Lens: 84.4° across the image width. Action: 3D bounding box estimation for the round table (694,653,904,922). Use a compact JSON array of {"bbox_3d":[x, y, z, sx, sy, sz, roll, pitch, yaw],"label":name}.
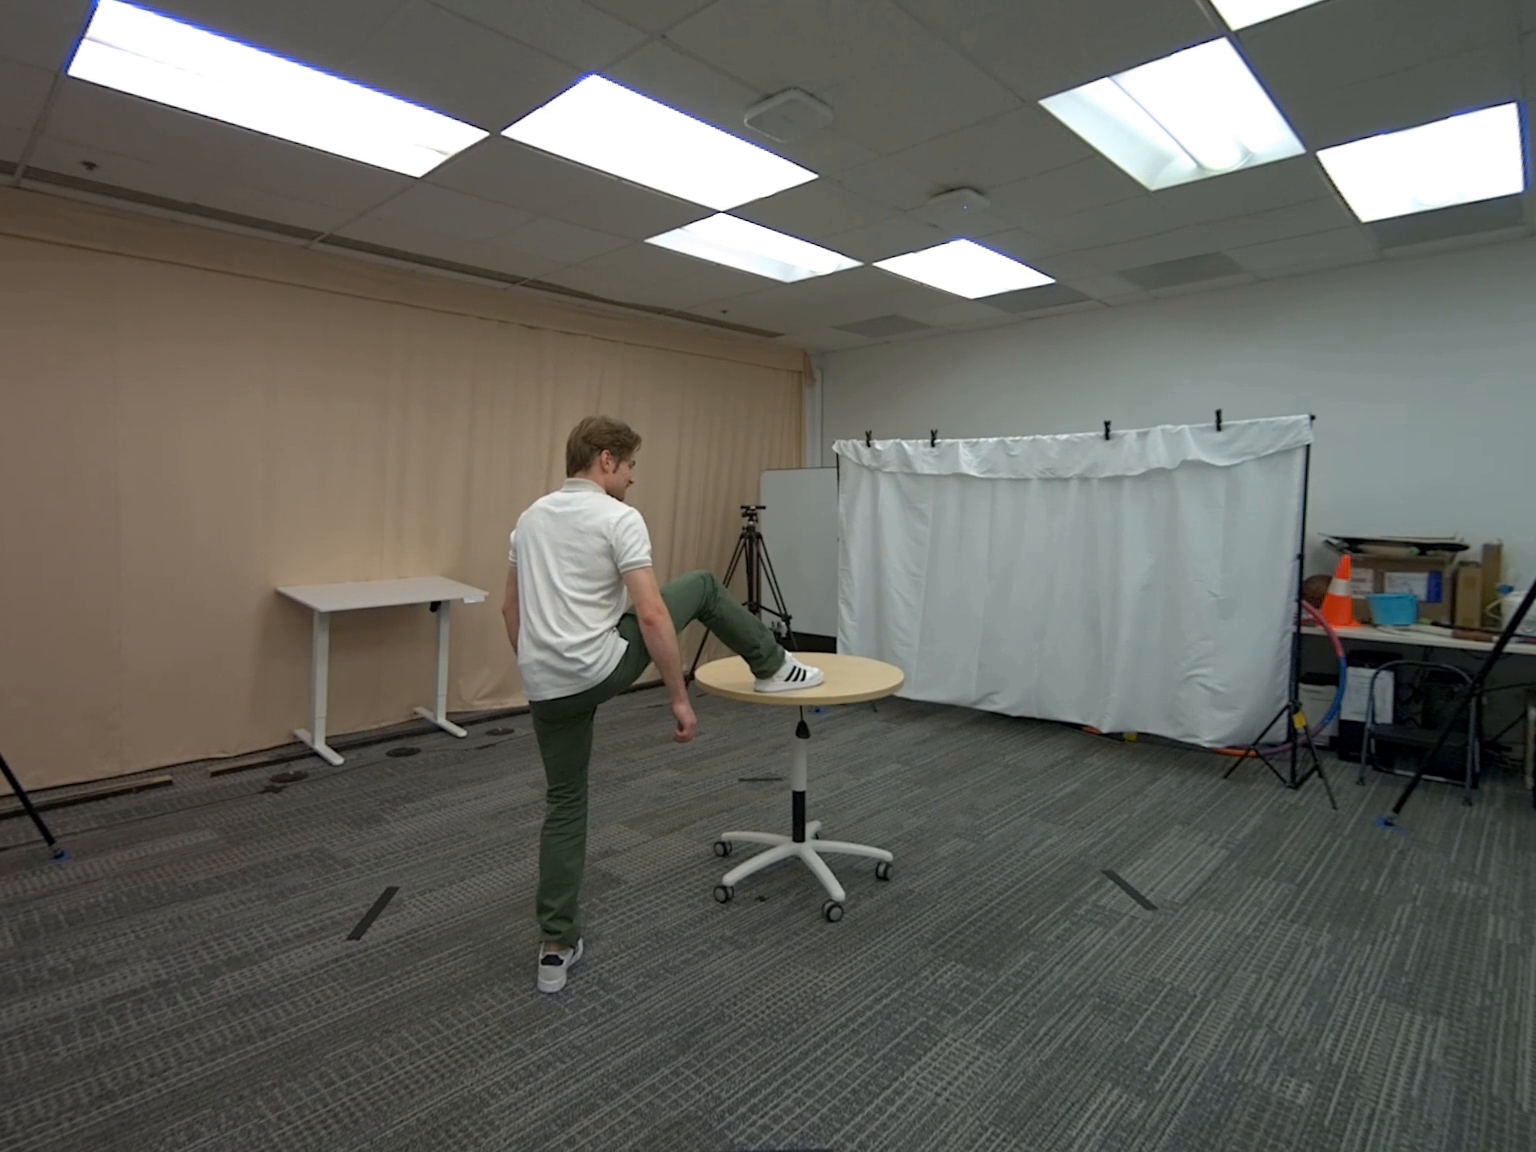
[{"bbox_3d":[0.119,0.743,3.134,0.763,0.792,0.767,0,4,-2],"label":"round table"}]
